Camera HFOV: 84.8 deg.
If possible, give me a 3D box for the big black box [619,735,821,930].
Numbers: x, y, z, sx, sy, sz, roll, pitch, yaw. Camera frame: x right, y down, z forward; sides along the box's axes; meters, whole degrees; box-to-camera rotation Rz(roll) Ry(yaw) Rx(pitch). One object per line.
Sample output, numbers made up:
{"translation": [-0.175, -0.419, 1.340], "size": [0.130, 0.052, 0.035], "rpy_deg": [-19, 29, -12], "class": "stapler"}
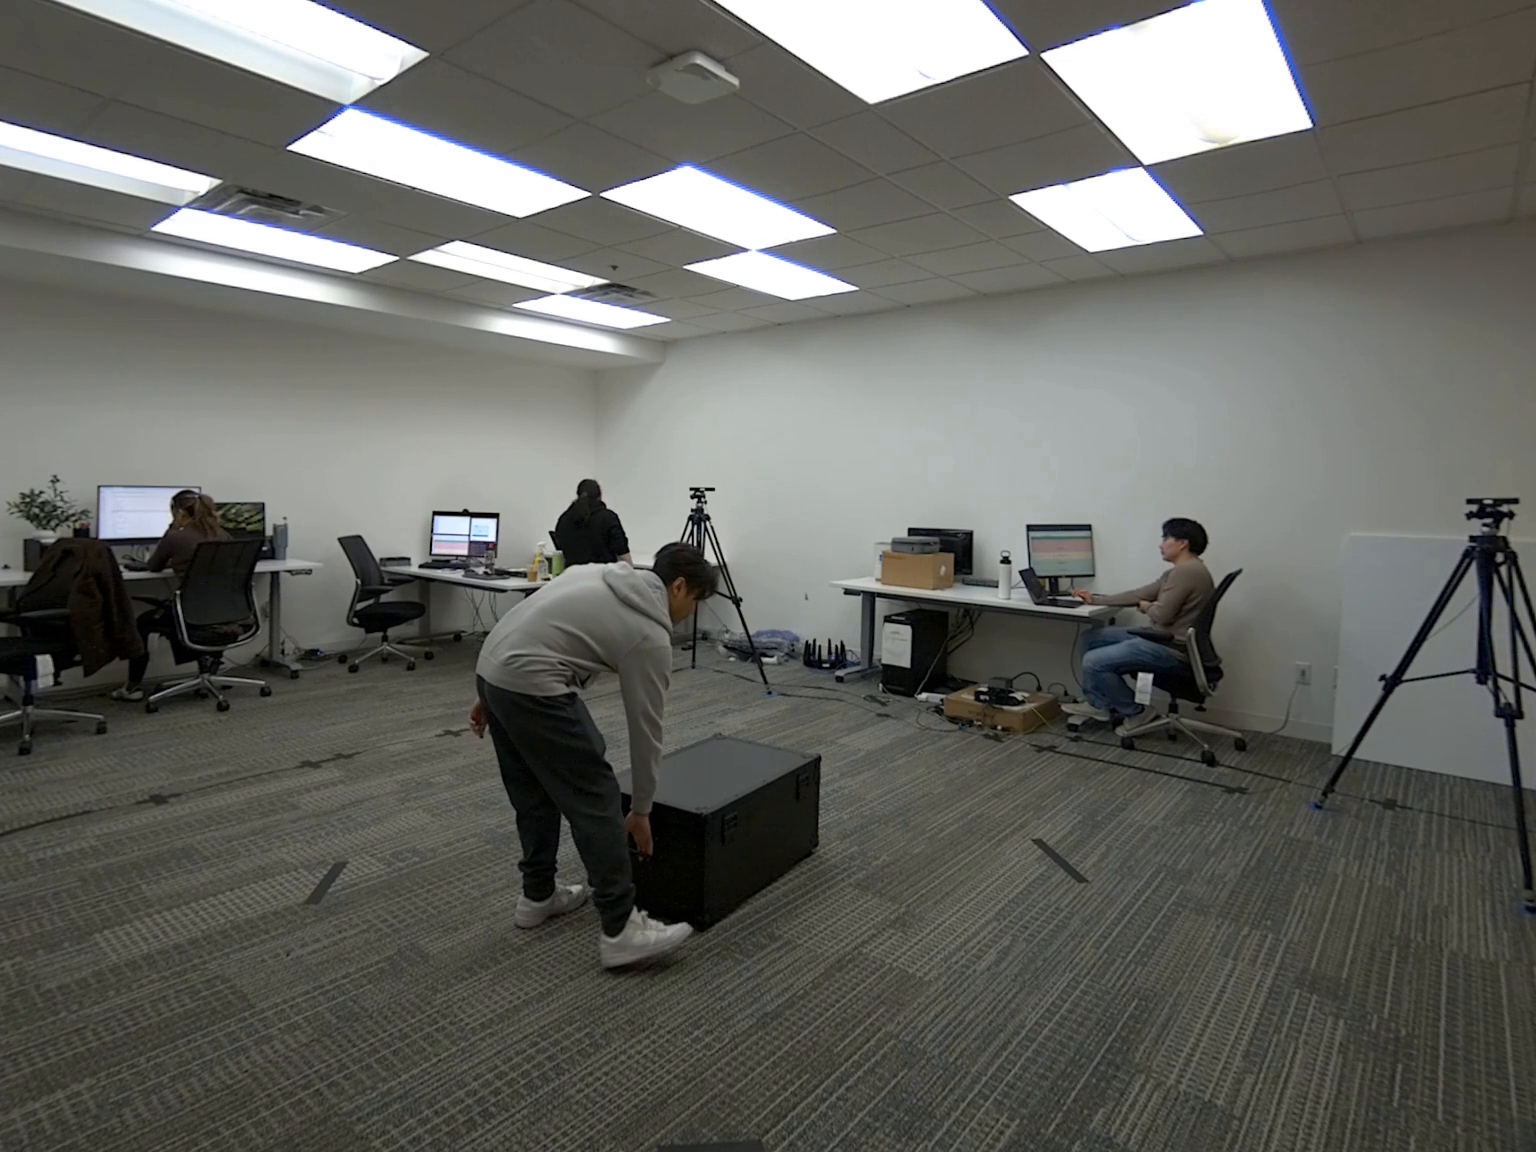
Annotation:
{"translation": [-0.229, 0.883, 3.057], "size": [0.537, 0.395, 0.838], "rpy_deg": [3, 5, 31], "class": "big black box"}
